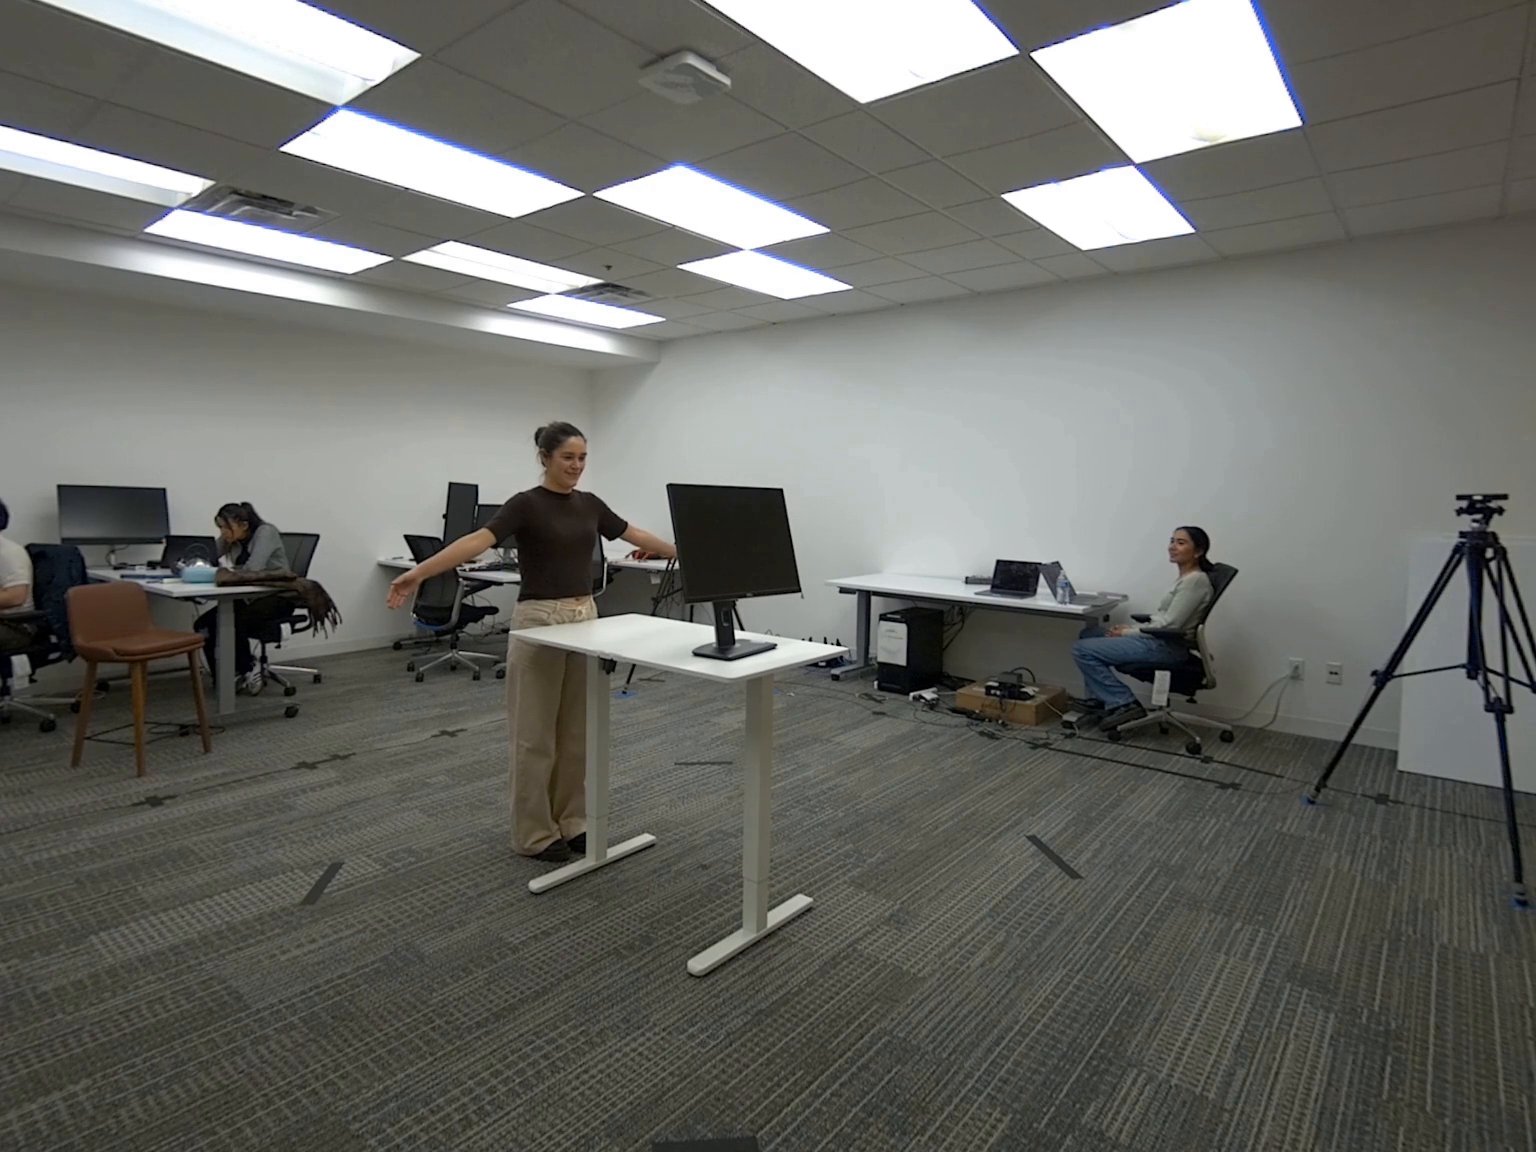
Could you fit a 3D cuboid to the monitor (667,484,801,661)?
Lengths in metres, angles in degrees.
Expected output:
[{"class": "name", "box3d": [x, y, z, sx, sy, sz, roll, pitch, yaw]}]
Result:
[{"class": "monitor", "box3d": [-0.120, -0.018, 2.640, 0.193, 0.522, 0.523, 1, 2, 38]}]
